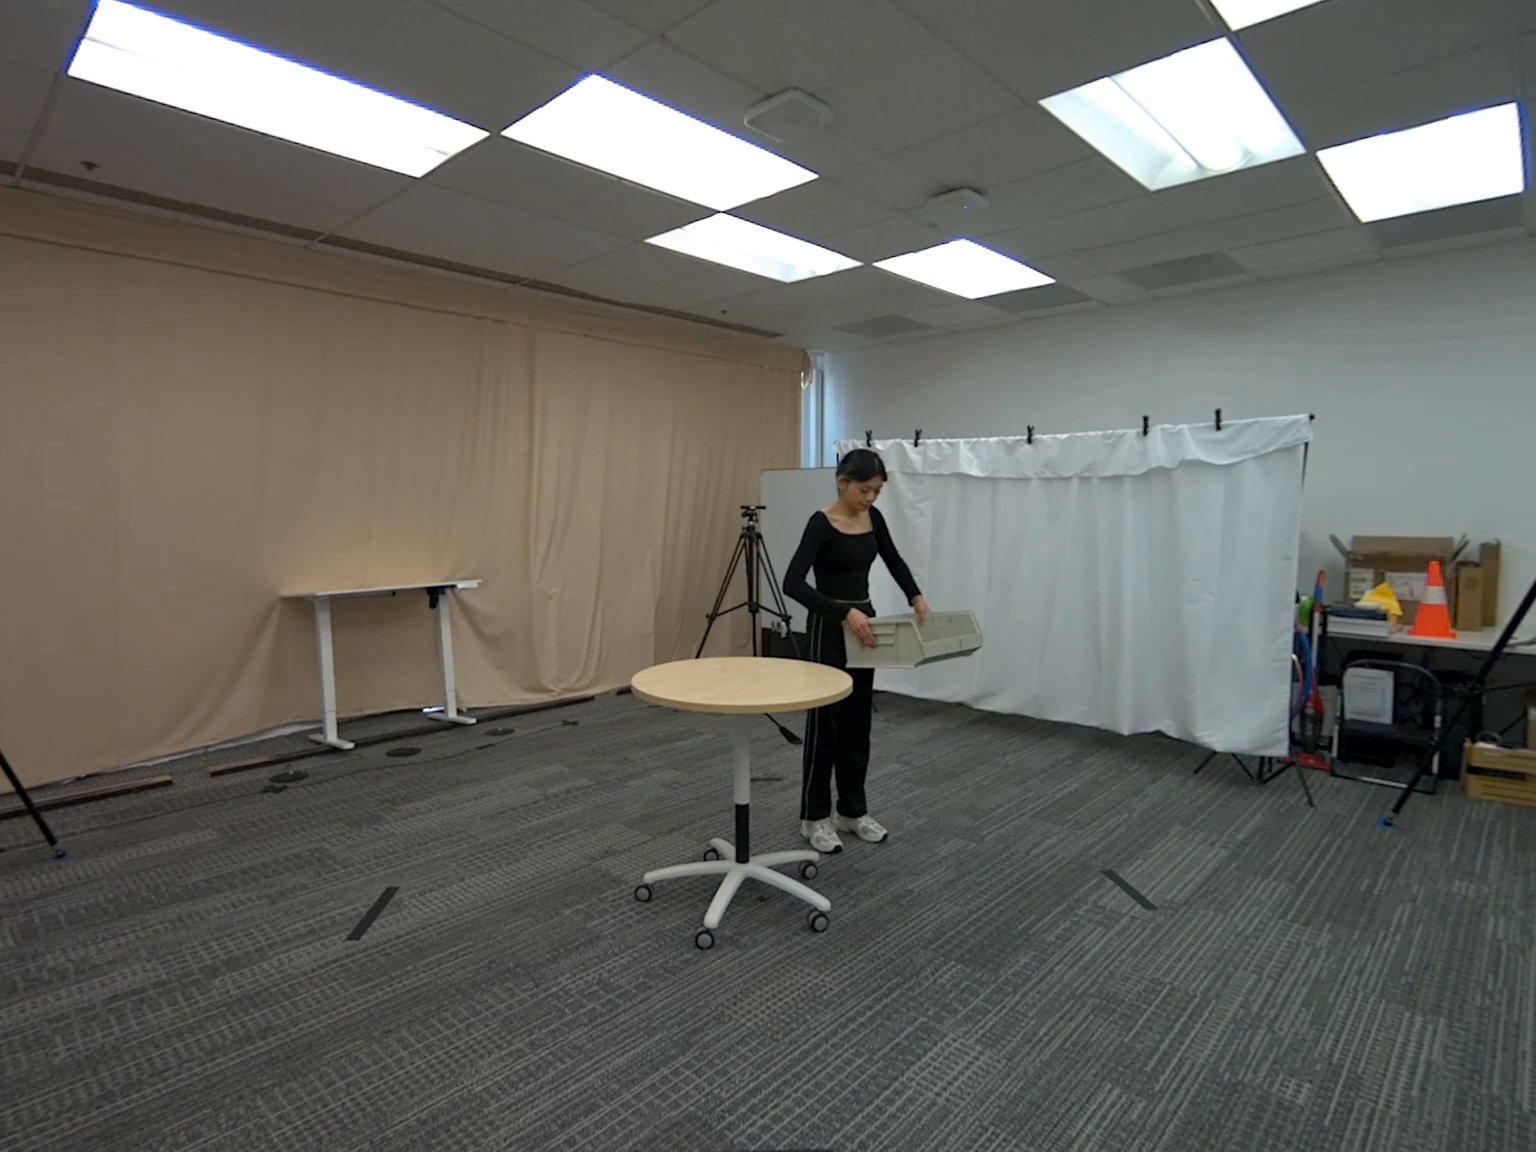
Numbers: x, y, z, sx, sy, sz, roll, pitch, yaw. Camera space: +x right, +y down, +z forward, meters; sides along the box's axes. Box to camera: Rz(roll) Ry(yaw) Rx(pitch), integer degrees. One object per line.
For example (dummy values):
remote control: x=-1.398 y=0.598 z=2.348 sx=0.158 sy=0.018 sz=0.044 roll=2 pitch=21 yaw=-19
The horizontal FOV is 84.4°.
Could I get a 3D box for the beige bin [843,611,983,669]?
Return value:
beige bin: x=0.571 y=0.245 z=3.290 sx=0.409 sy=0.189 sz=0.388 roll=-5 pitch=-2 yaw=-45
